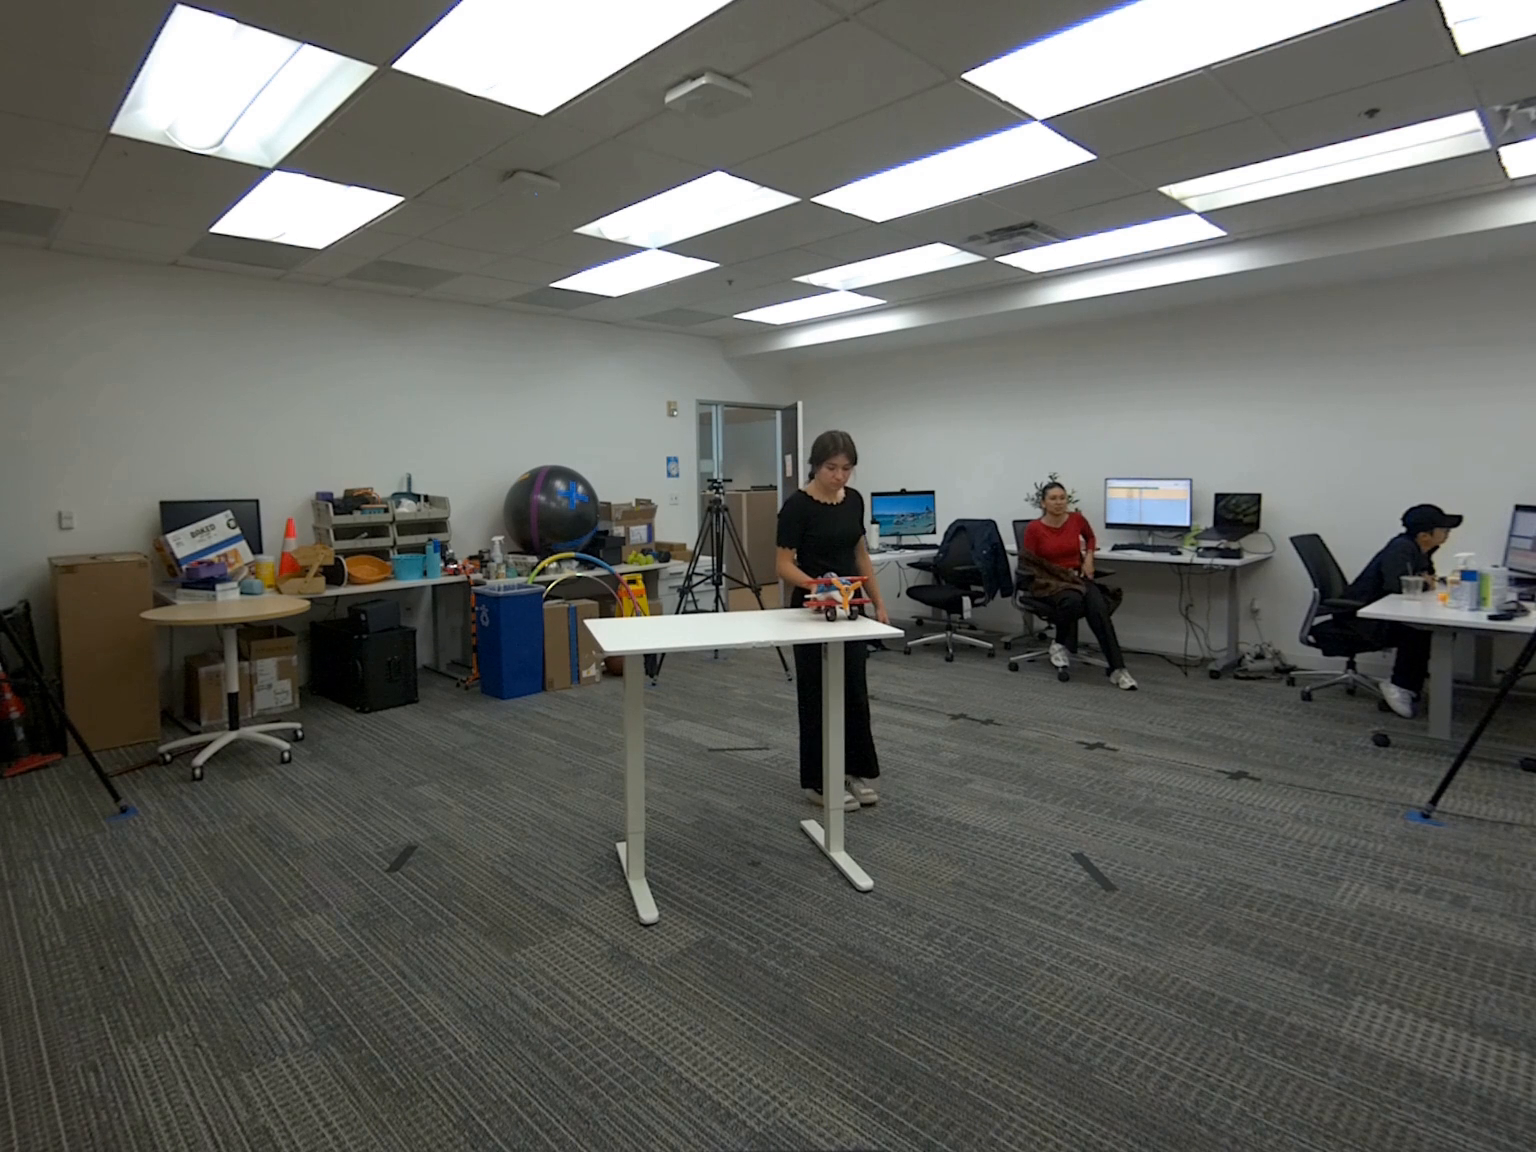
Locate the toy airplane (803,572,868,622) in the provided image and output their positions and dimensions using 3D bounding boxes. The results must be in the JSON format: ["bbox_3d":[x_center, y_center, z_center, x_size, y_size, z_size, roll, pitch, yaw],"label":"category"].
[{"bbox_3d":[0.220,0.075,3.154,0.268,0.155,0.244,9,10,43],"label":"toy airplane"}]
